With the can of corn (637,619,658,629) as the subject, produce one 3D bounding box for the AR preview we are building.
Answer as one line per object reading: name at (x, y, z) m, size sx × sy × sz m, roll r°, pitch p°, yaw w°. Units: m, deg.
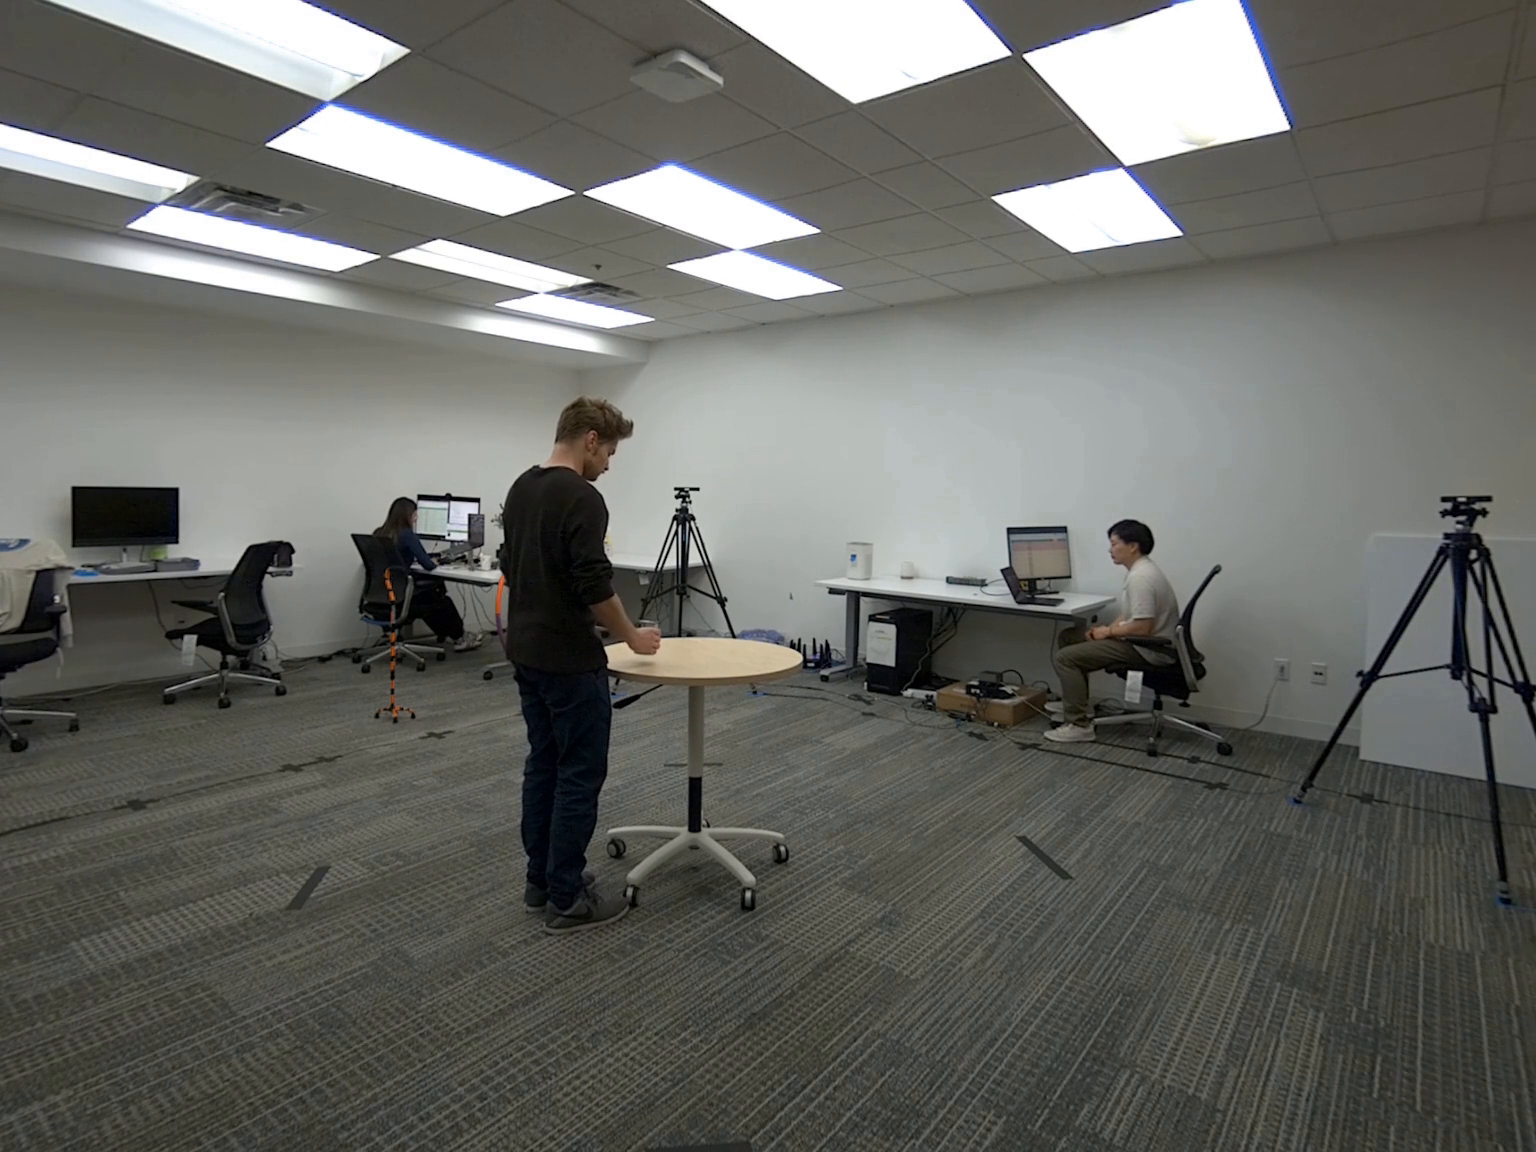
can of corn at (-0.431, 0.215, 2.920) m, size 0.074 × 0.111 × 0.074 m, roll 4°, pitch 0°, yaw -2°
